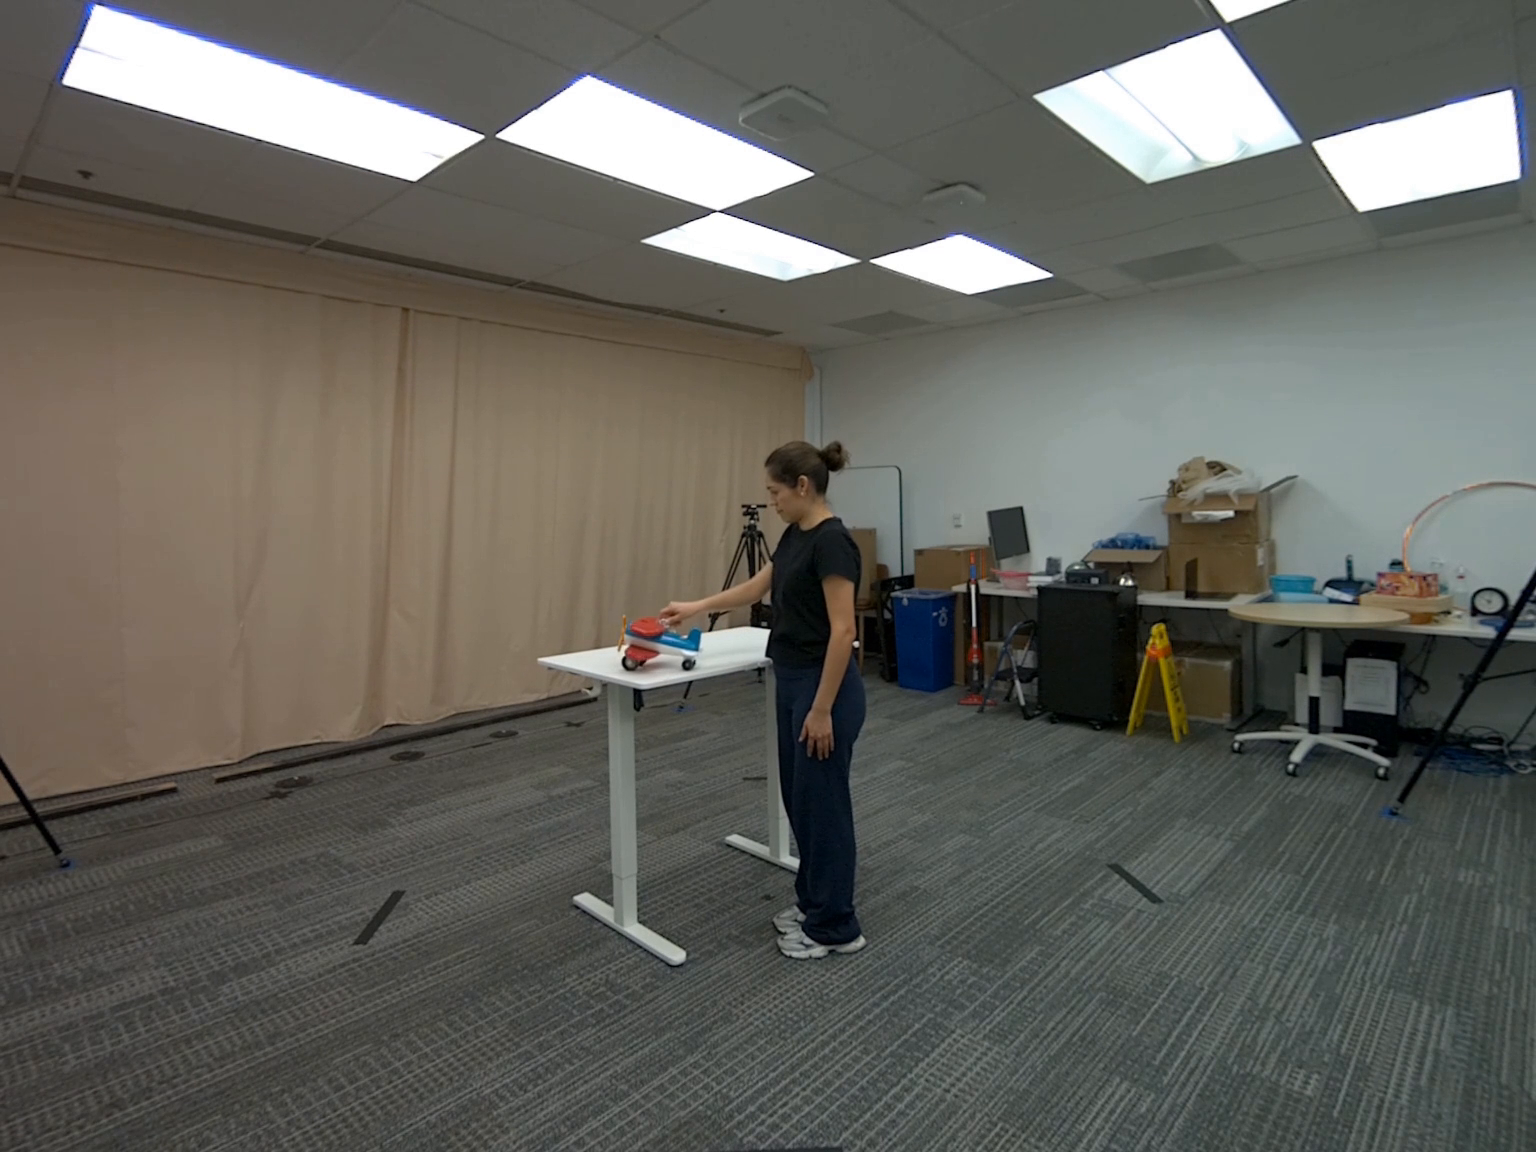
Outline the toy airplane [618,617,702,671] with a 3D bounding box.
[{"bbox_3d":[-0.318,0.215,2.671,0.255,0.156,0.256,-5,4,-18],"label":"toy airplane"}]
